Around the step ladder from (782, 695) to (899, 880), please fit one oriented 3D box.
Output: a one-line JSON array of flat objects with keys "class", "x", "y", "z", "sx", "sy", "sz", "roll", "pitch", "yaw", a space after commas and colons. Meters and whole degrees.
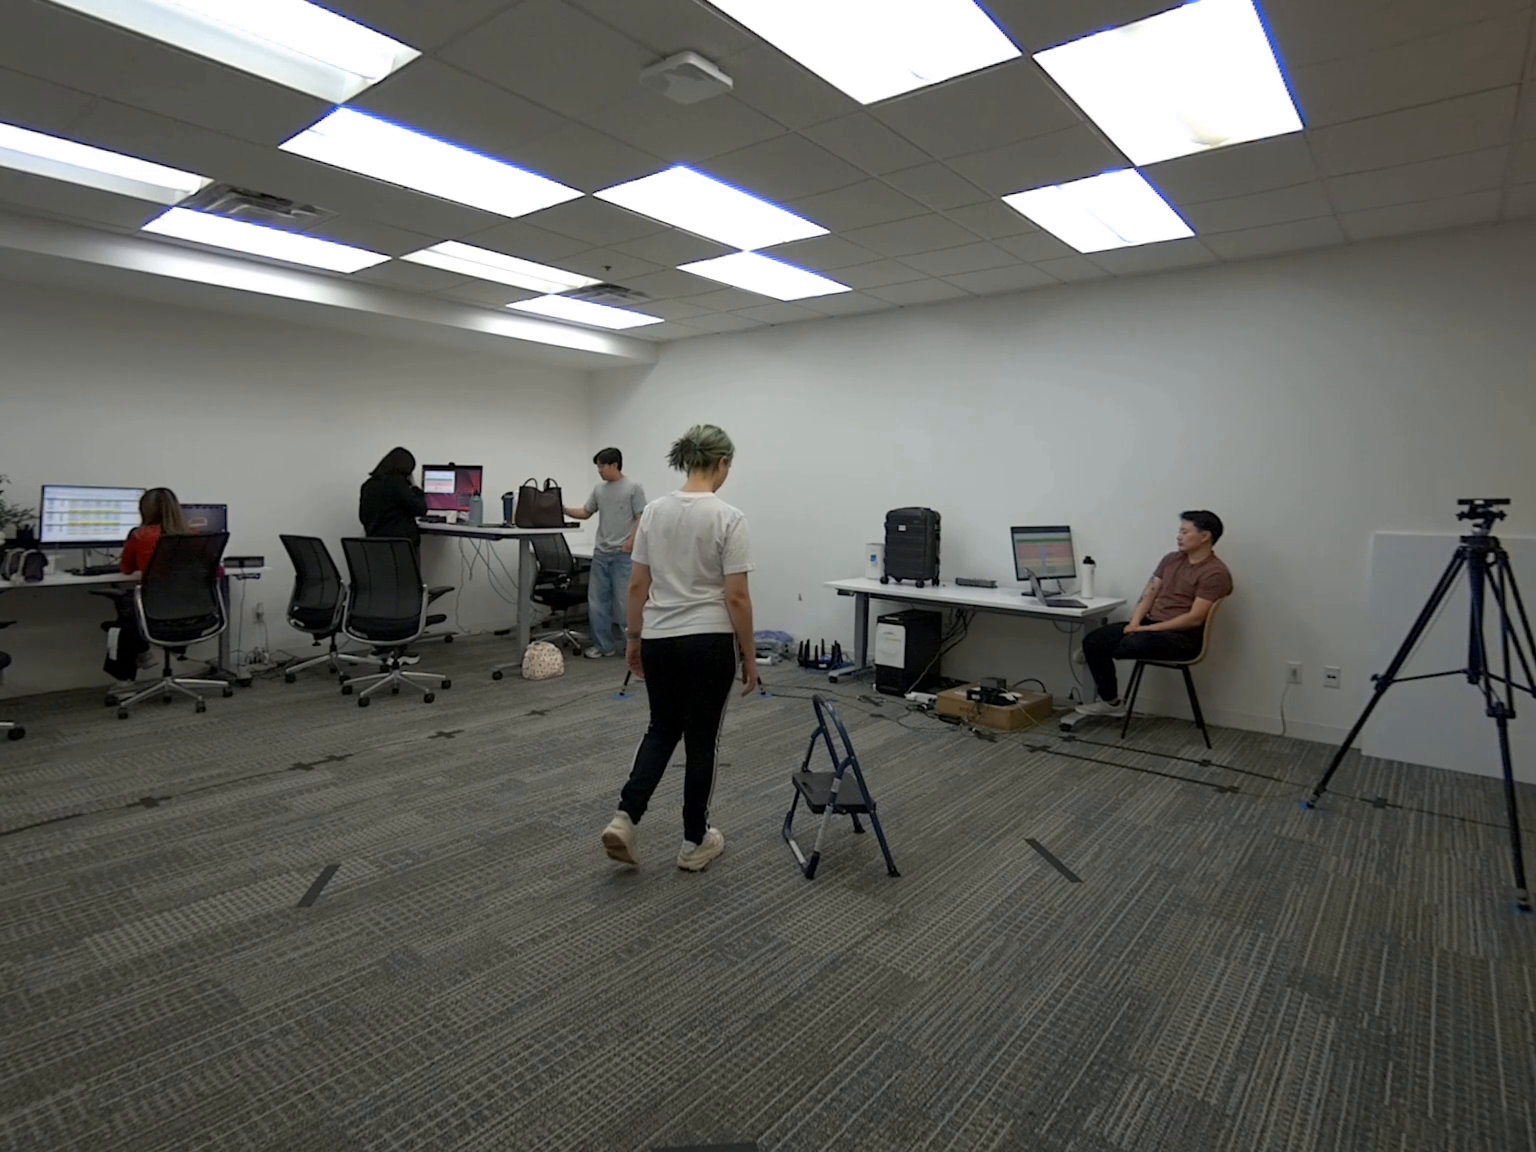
[{"class": "step ladder", "x": 0.263, "y": 0.766, "z": 3.252, "sx": 0.345, "sy": 0.604, "sz": 0.437, "roll": 1, "pitch": 3, "yaw": -12}]
